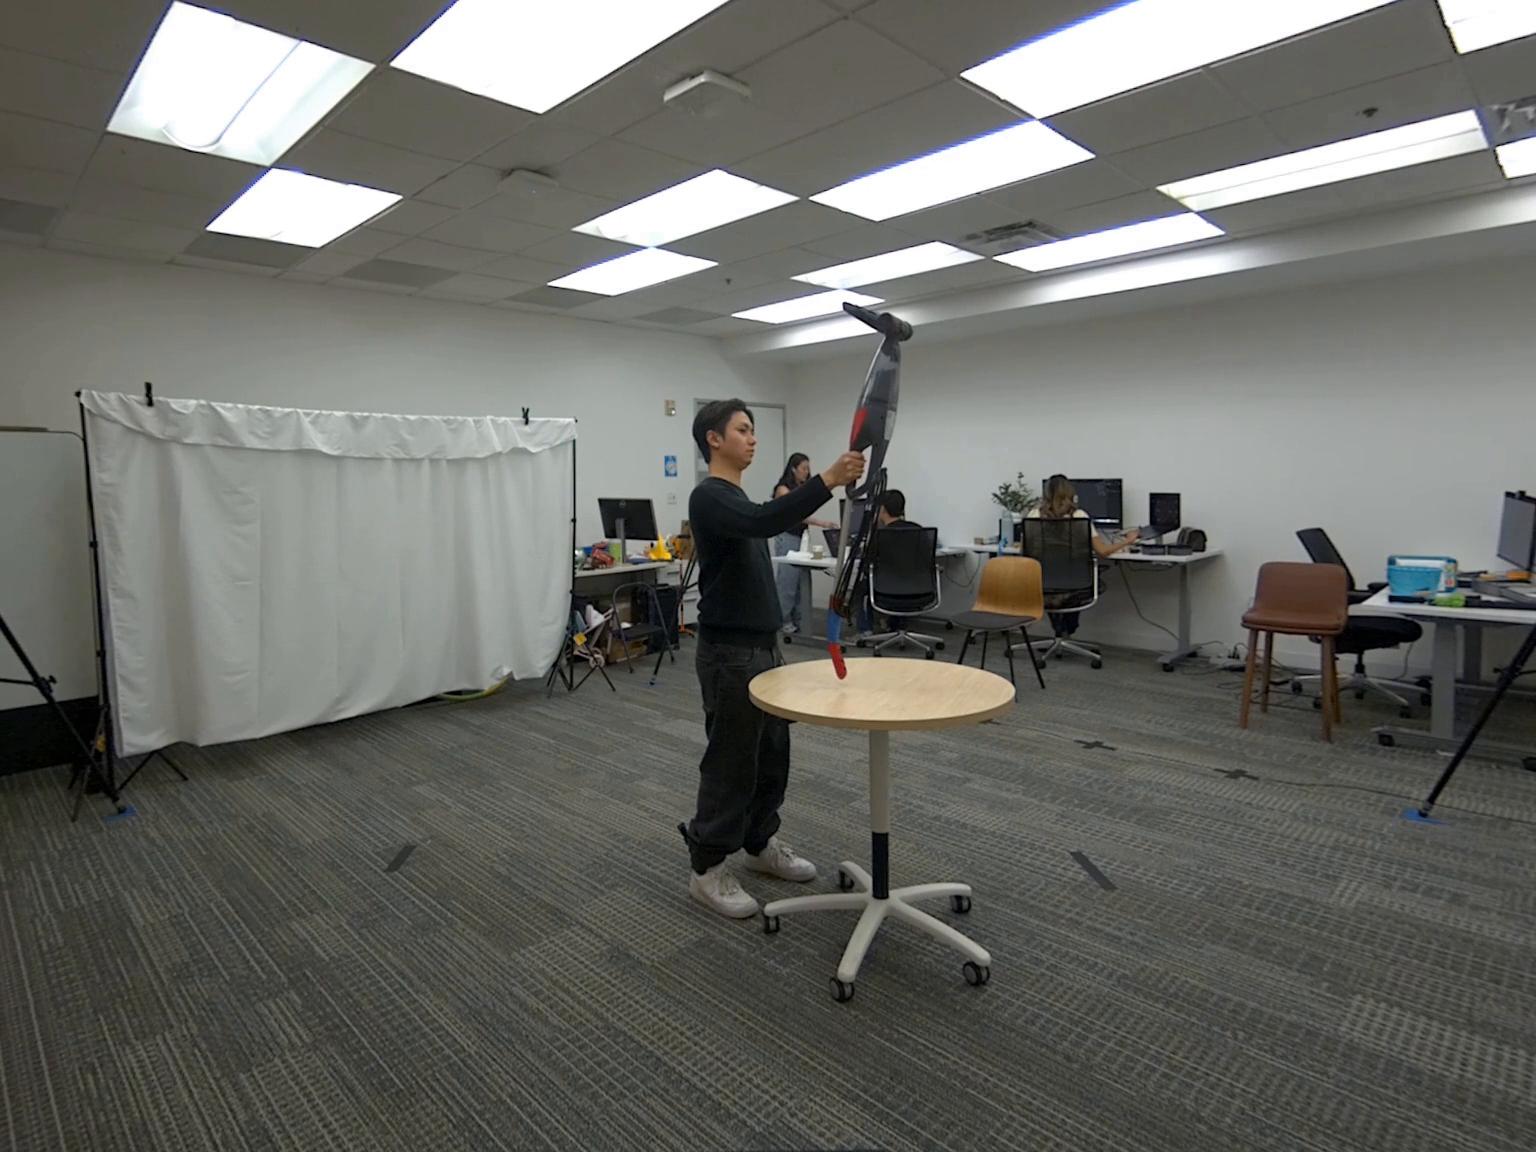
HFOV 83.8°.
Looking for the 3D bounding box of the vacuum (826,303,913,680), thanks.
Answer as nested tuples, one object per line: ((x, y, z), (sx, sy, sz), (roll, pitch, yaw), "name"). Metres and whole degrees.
((0.285, -0.225, 2.456), (0.148, 1.048, 0.245), (6, 1, 37), "vacuum")
